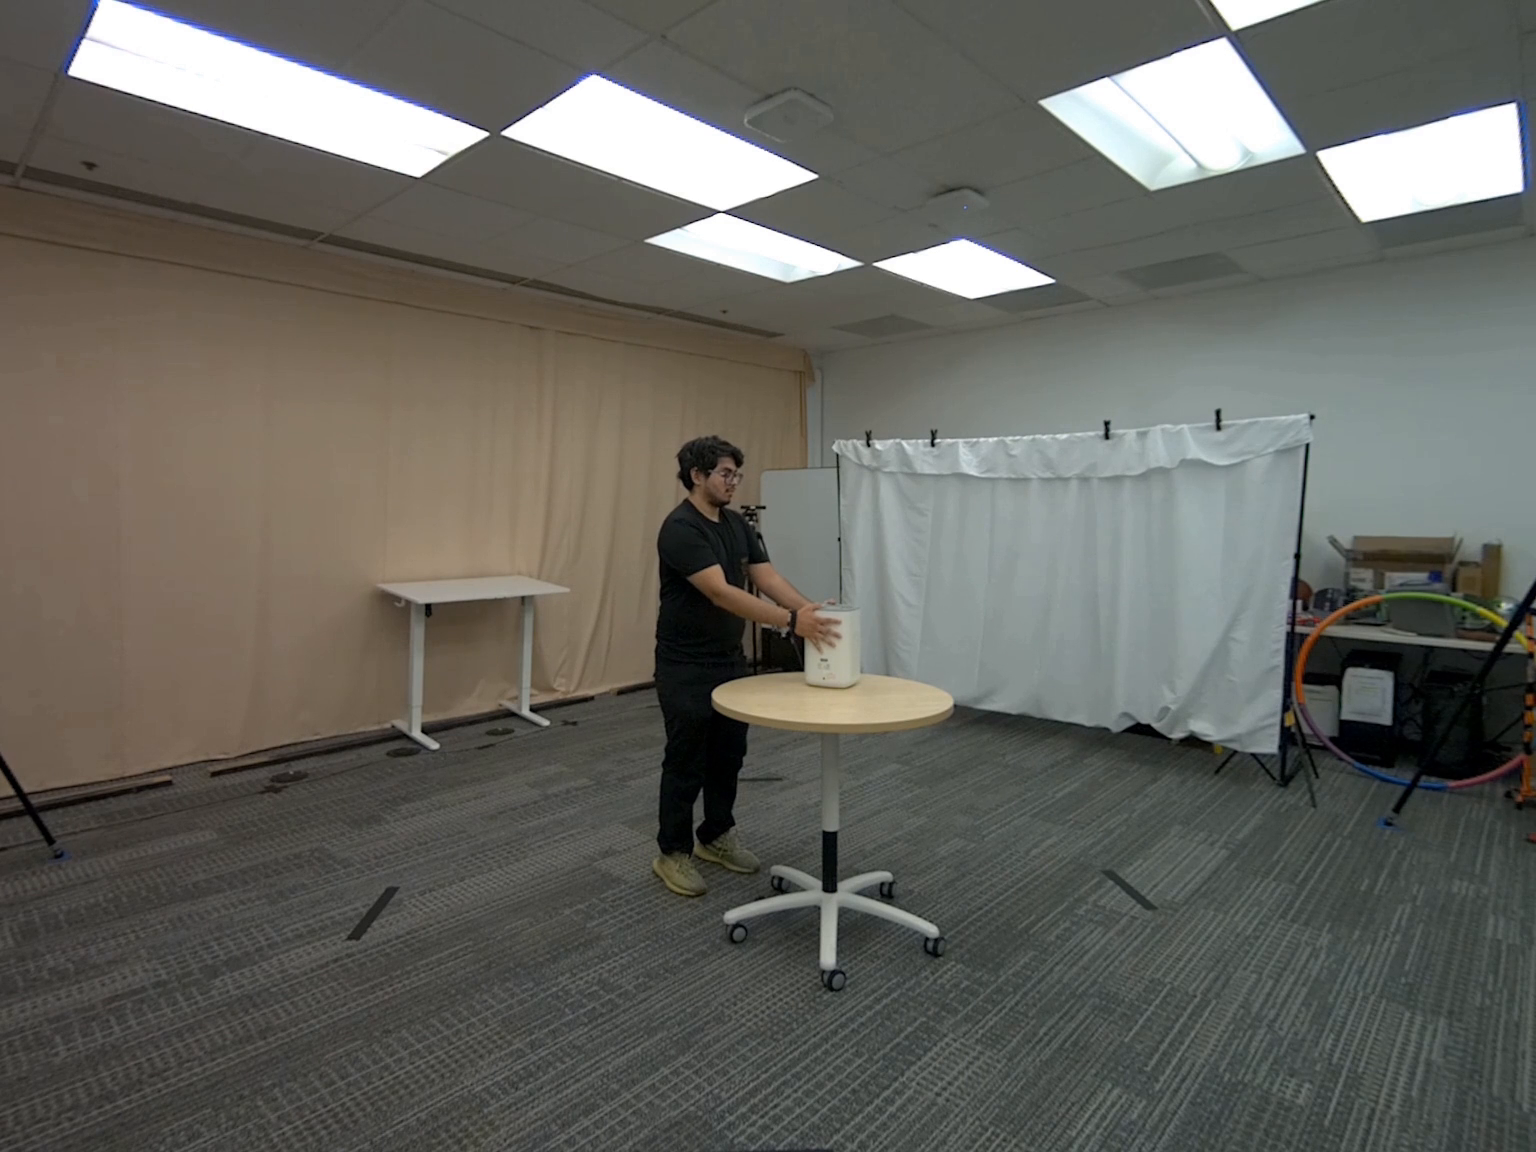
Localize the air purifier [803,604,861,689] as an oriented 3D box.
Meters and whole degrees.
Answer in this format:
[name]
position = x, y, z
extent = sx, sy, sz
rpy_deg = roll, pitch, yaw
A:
[air purifier]
position = 0.222, 0.237, 2.865
extent = 0.175, 0.265, 0.167
rpy_deg = 1, 3, 25
